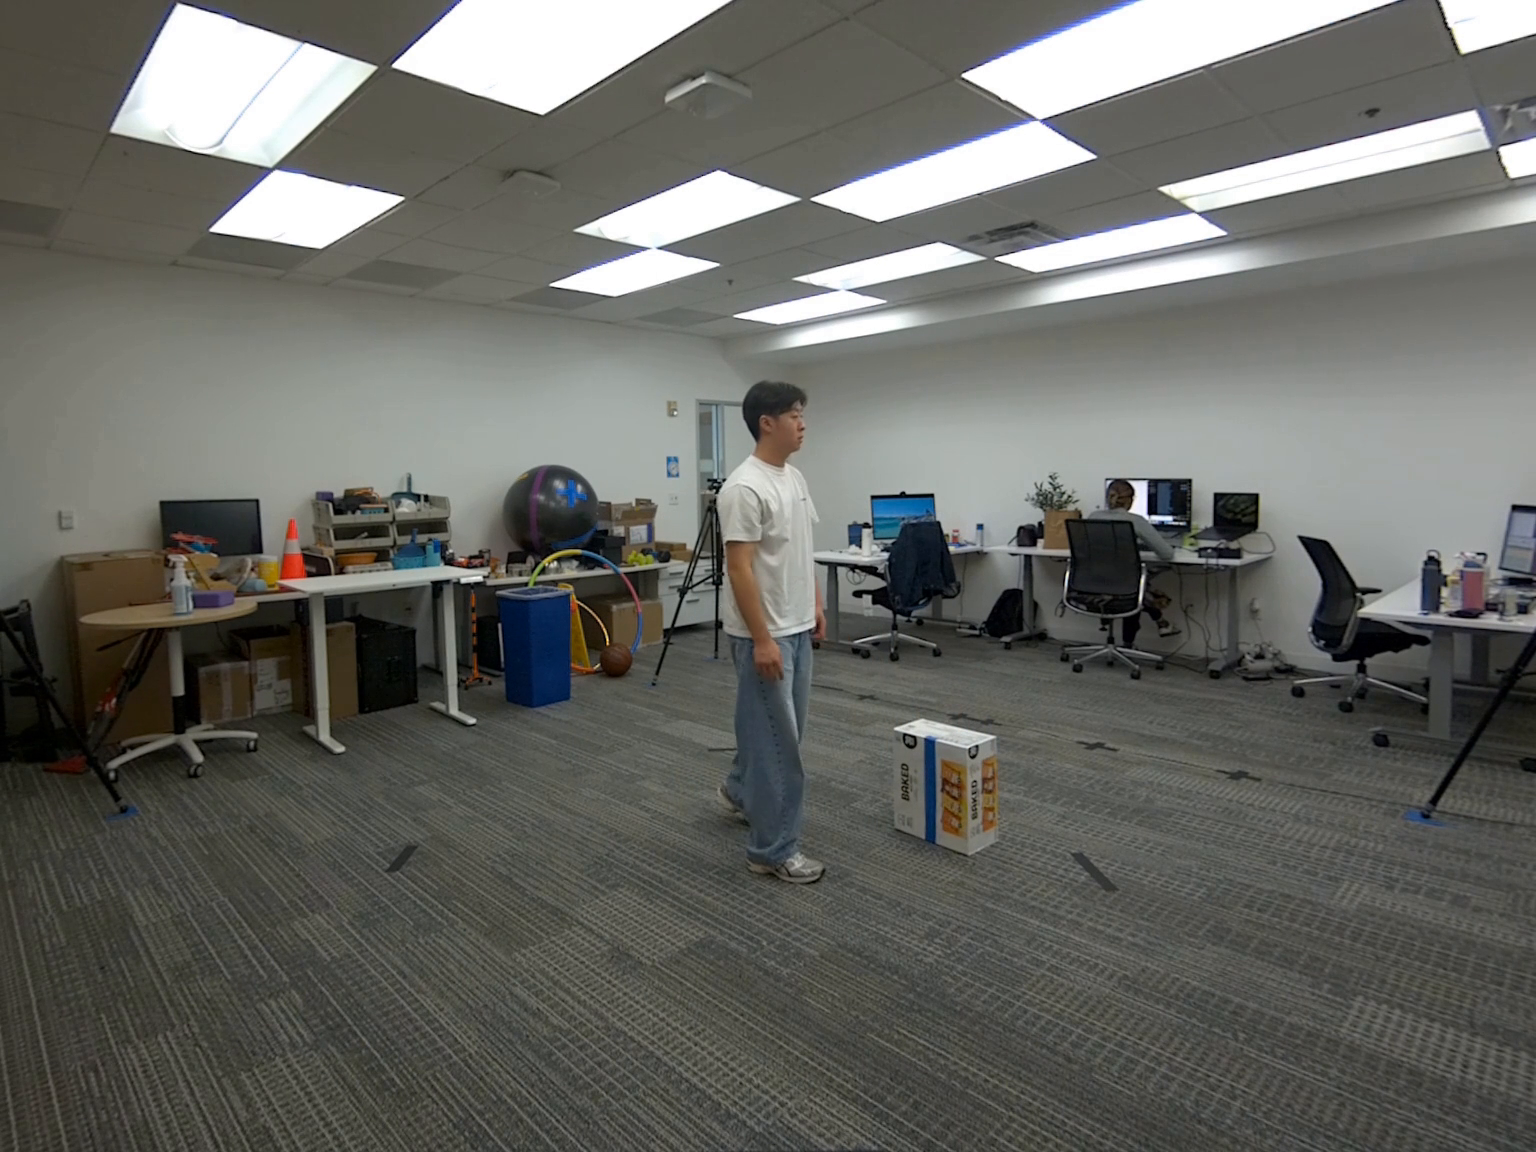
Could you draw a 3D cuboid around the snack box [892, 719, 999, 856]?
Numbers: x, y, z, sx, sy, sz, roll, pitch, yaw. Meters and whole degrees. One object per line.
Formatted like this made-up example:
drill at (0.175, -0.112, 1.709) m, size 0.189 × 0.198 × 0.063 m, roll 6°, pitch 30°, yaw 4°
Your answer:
snack box at (0.690, 0.809, 3.314) m, size 0.200 × 0.404 × 0.351 m, roll -5°, pitch 6°, yaw -42°
